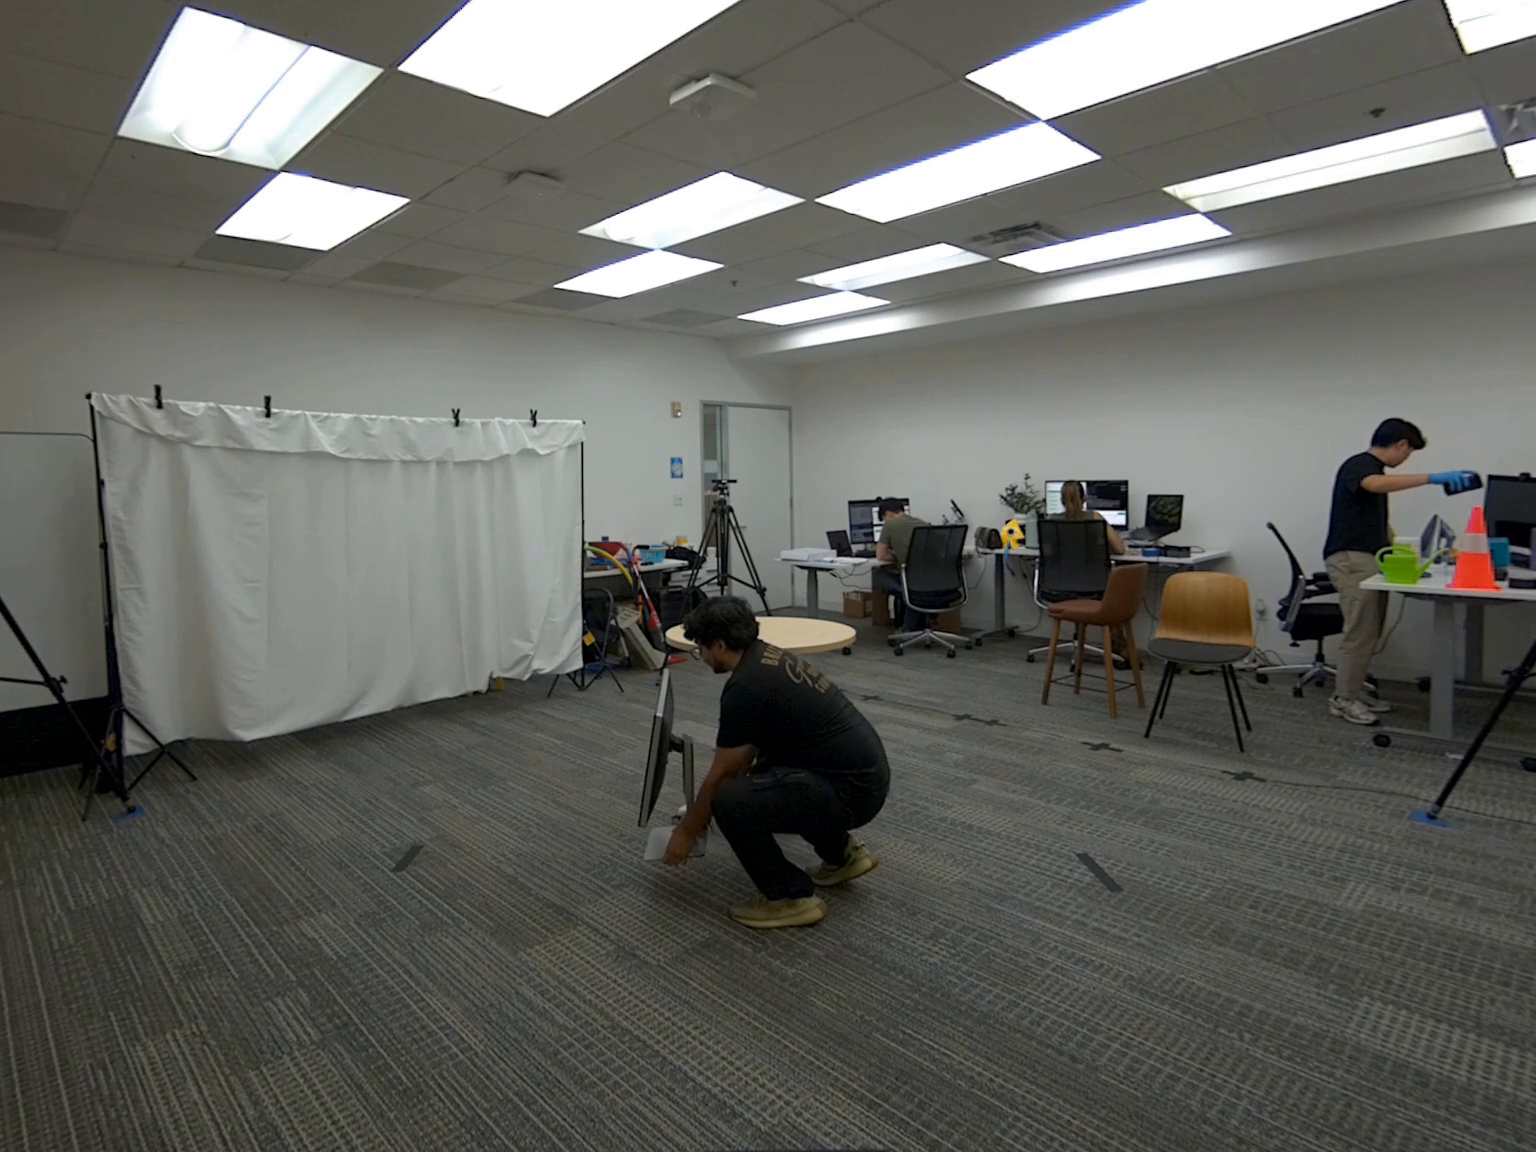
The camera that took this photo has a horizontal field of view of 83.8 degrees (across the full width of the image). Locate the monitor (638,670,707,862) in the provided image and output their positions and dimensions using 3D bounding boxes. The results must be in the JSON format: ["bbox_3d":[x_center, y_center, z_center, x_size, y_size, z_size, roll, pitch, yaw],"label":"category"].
[{"bbox_3d":[-0.306,0.647,2.889,0.209,0.551,0.570,2,6,-4],"label":"monitor"}]
